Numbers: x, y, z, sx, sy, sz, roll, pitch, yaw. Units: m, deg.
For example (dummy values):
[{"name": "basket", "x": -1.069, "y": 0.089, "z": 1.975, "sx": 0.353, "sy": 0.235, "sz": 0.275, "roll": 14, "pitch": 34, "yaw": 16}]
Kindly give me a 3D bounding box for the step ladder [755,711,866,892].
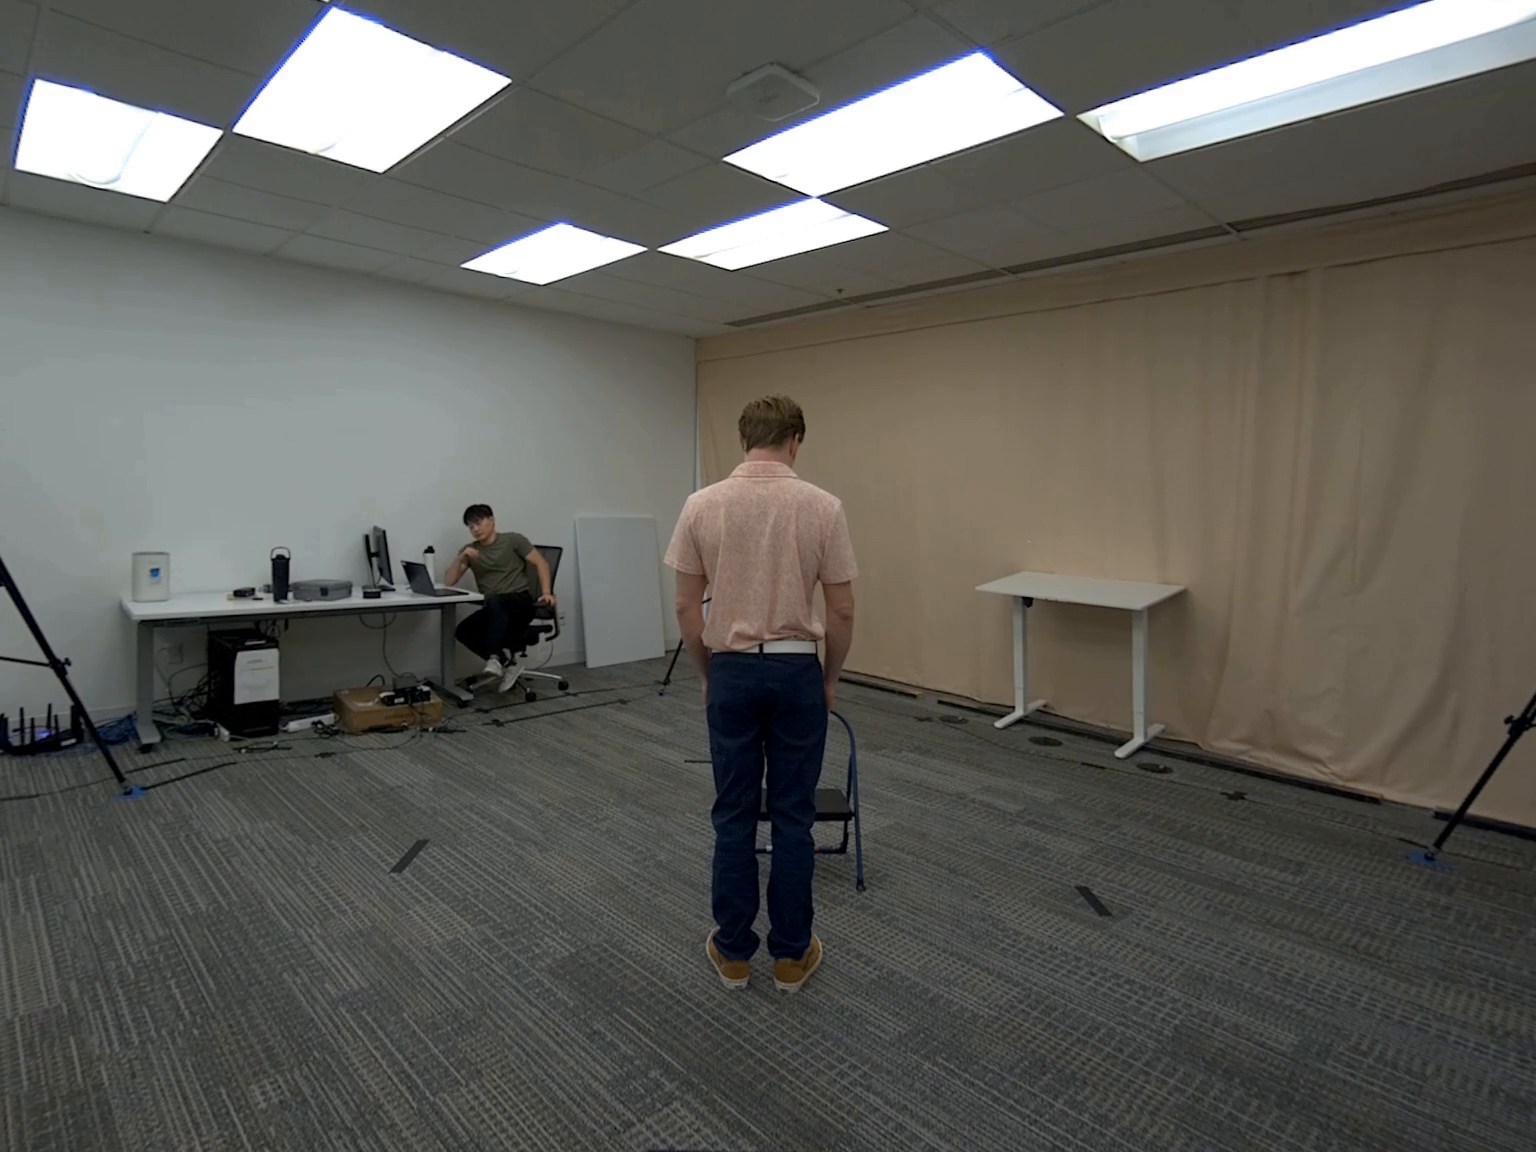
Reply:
[{"name": "step ladder", "x": 0.127, "y": 0.805, "z": 3.153, "sx": 0.429, "sy": 0.605, "sz": 0.351, "roll": 2, "pitch": 2, "yaw": -4}]
